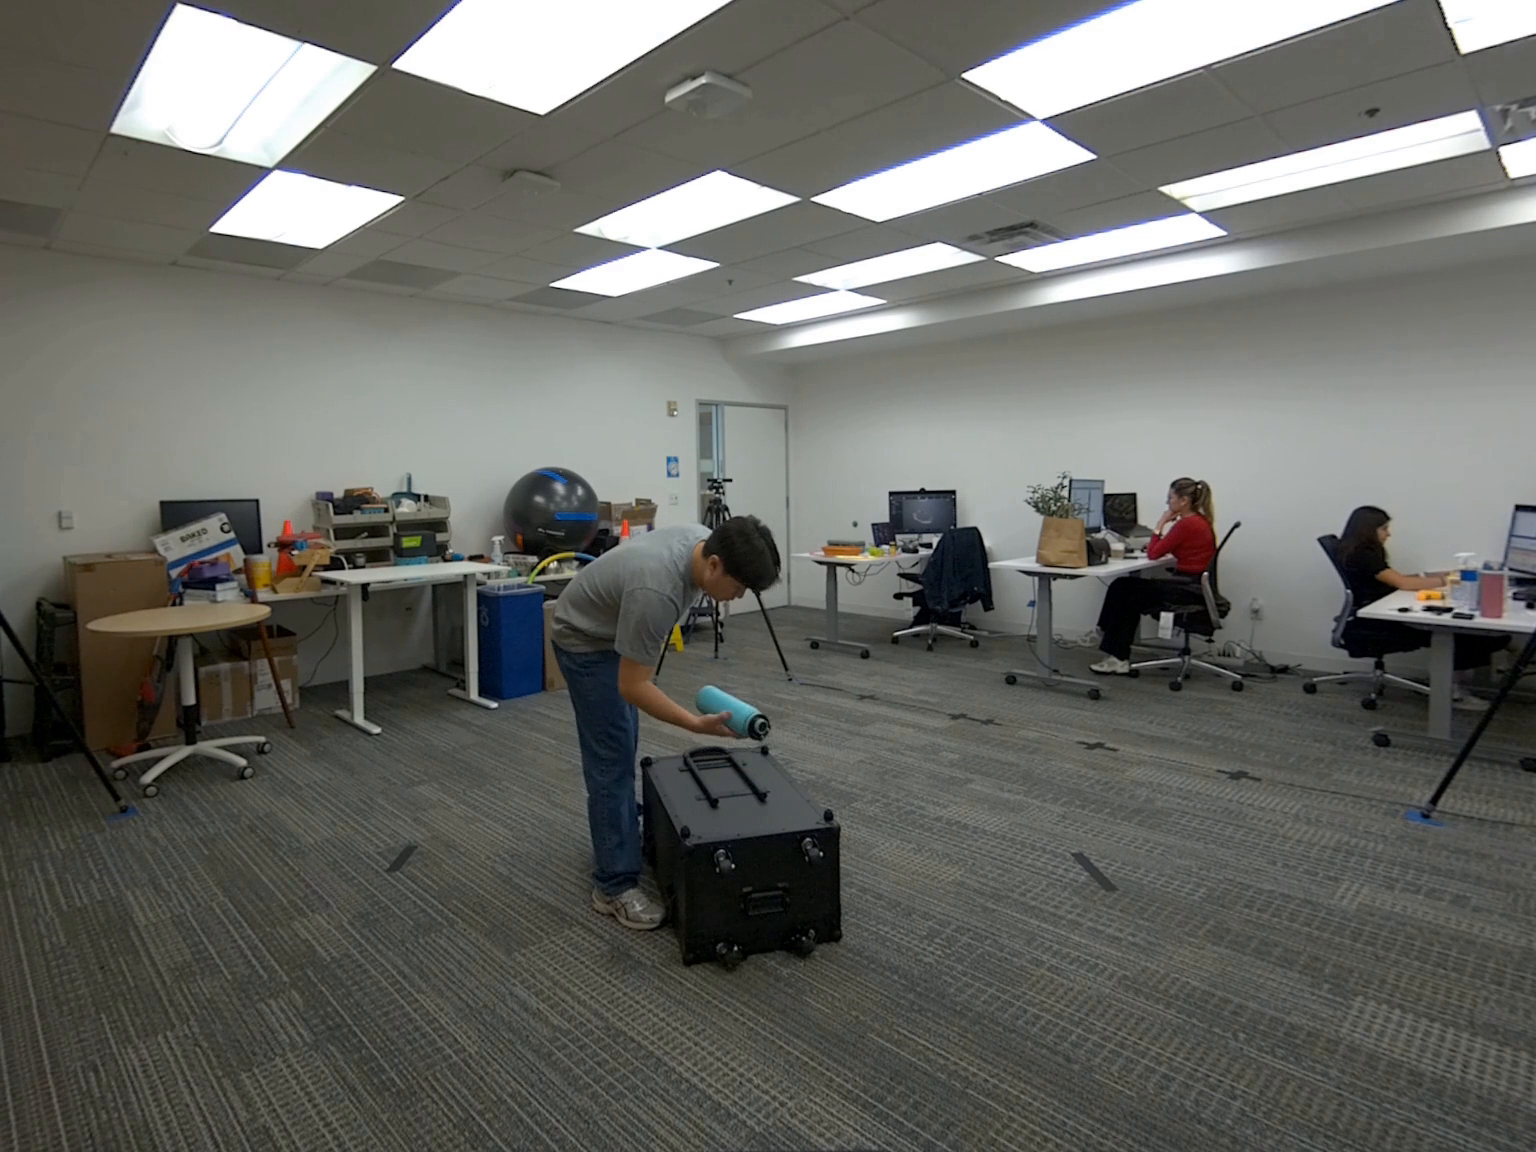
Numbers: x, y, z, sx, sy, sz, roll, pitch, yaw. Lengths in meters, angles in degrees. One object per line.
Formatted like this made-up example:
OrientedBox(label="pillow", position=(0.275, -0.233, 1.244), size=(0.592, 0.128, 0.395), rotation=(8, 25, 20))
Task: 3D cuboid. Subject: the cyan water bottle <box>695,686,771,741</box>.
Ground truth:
OrientedBox(label="cyan water bottle", position=(-0.104, 0.415, 2.604), size=(0.090, 0.091, 0.293), rotation=(-5, 14, -40))
